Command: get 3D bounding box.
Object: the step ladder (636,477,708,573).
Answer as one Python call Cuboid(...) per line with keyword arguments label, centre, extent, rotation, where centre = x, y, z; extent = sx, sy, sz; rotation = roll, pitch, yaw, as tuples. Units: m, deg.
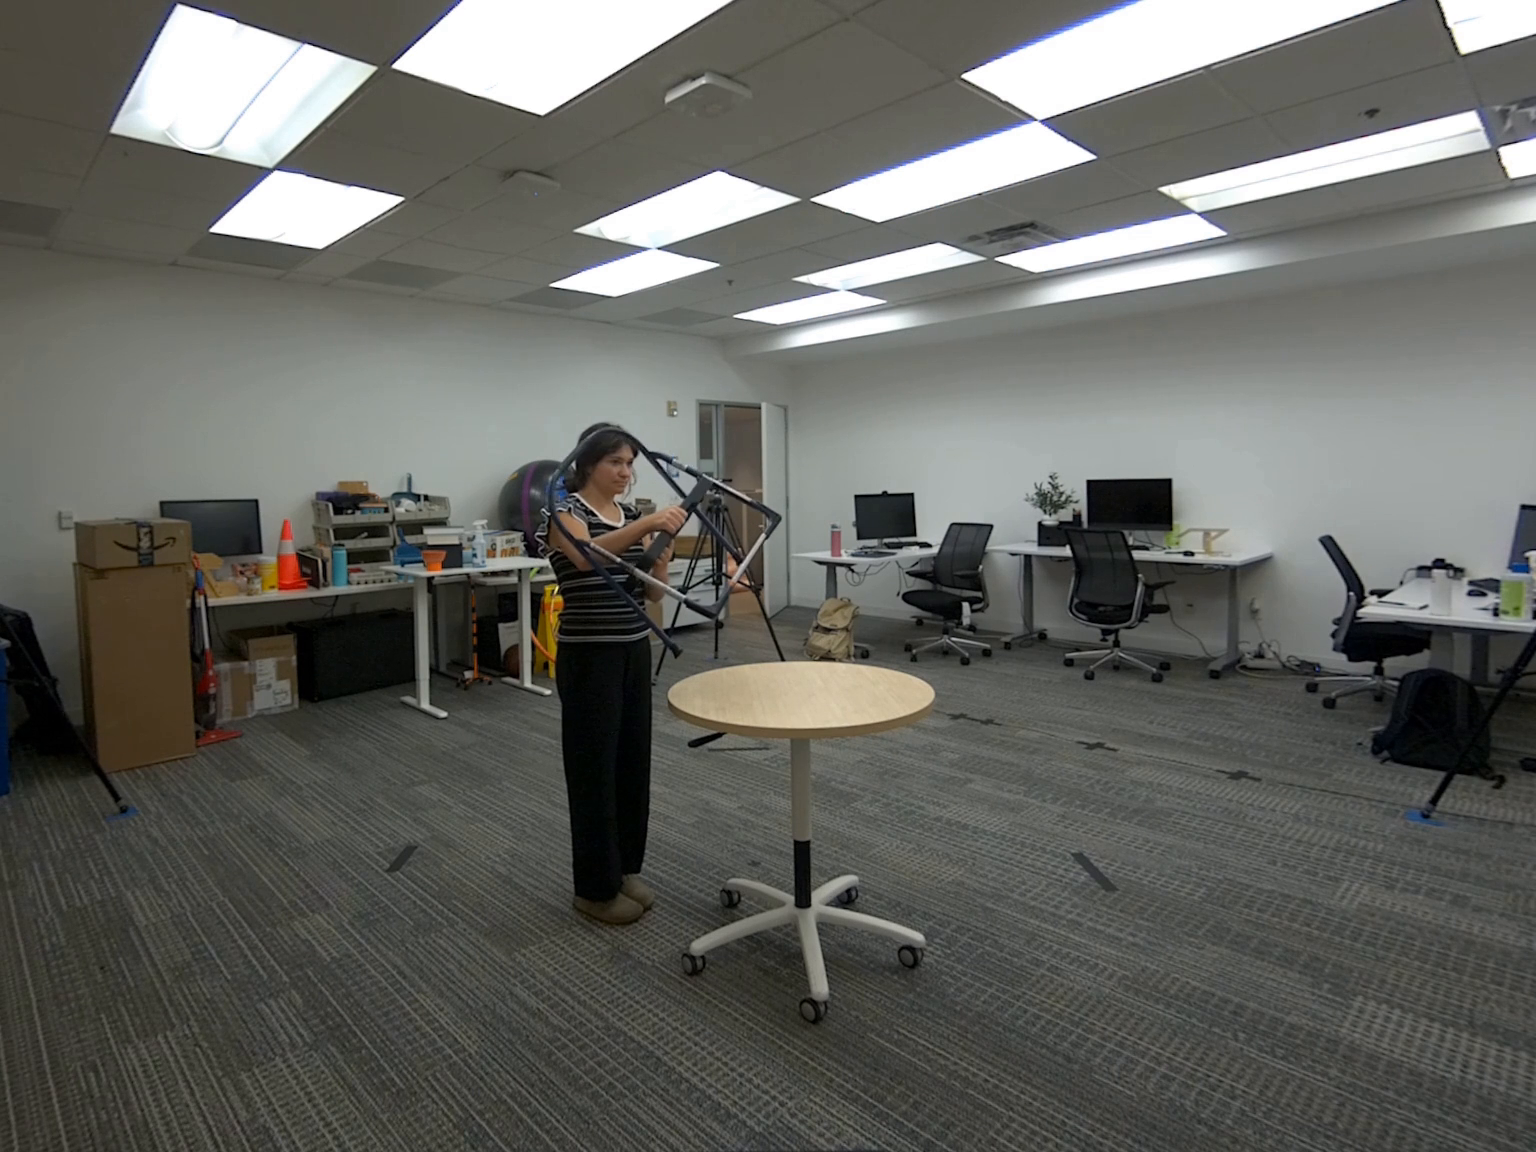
Cuboid(label="step ladder", centre=(-0.348, -0.150, 2.541), extent=(0.603, 0.433, 0.349), rotation=(36, -32, -5))
